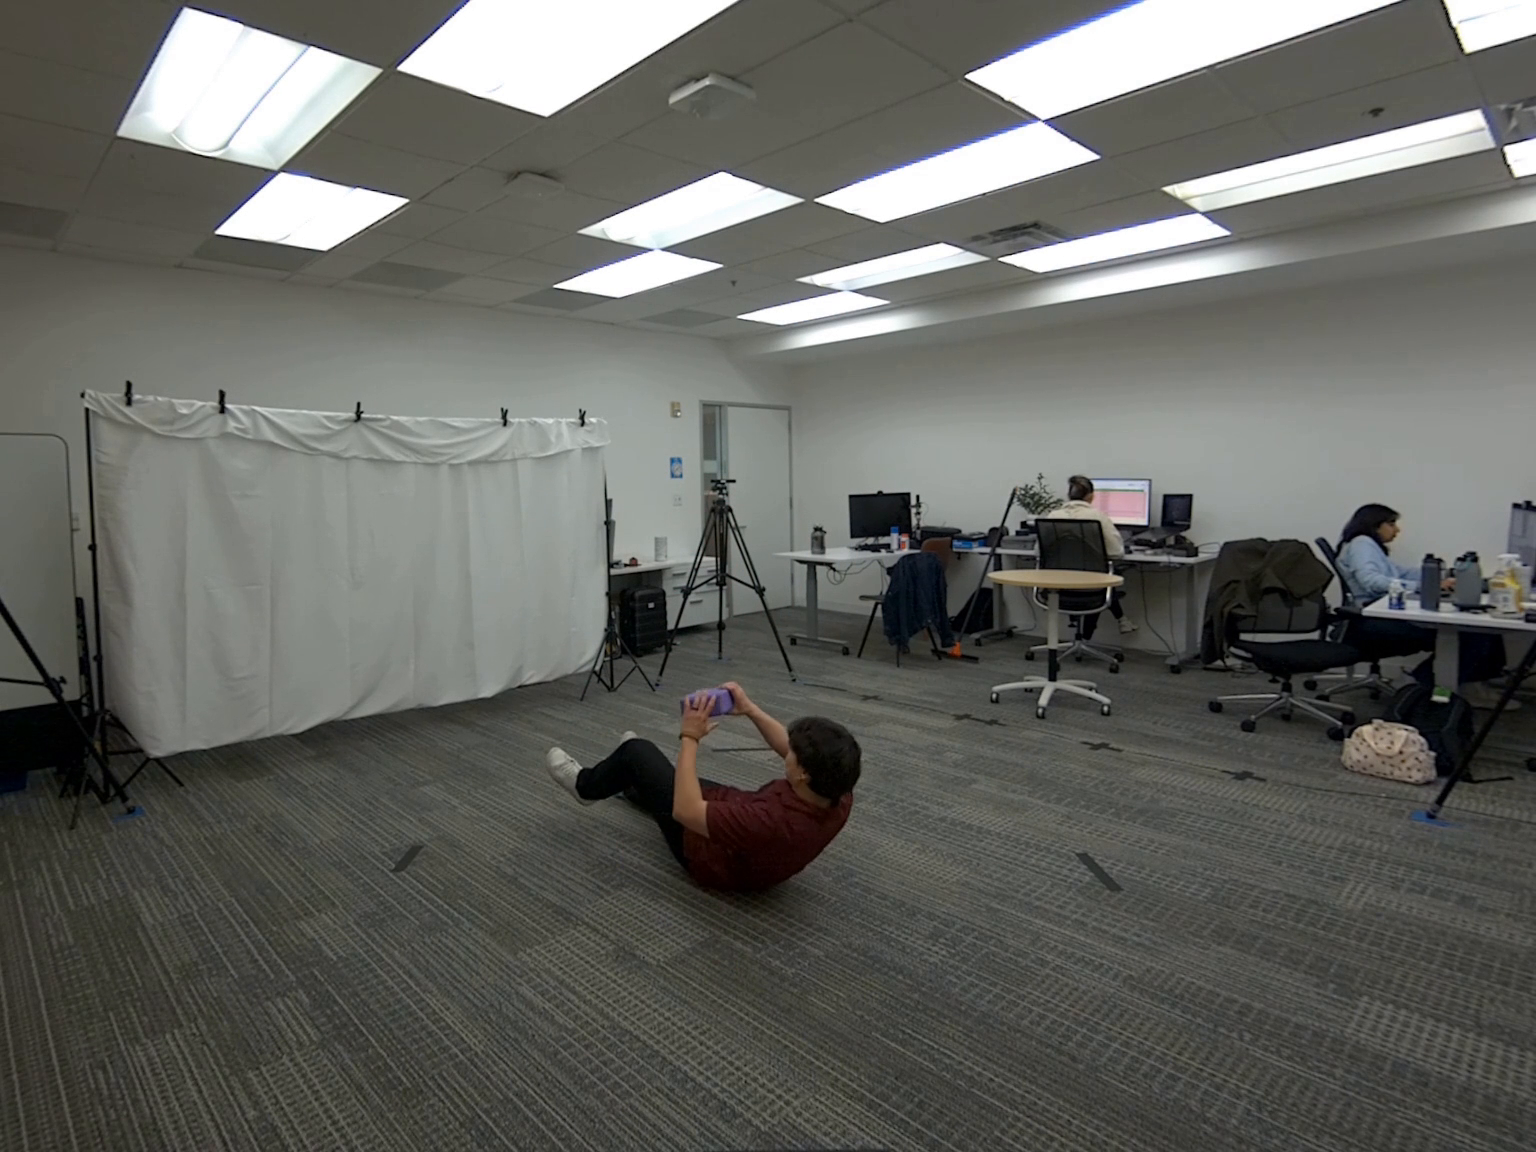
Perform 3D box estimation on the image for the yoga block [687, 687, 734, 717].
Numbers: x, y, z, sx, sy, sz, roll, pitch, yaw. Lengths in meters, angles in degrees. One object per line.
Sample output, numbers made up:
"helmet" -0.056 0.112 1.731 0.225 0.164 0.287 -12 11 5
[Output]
"yoga block" -0.211 0.456 3.024 0.150 0.076 0.226 -10 -1 12
